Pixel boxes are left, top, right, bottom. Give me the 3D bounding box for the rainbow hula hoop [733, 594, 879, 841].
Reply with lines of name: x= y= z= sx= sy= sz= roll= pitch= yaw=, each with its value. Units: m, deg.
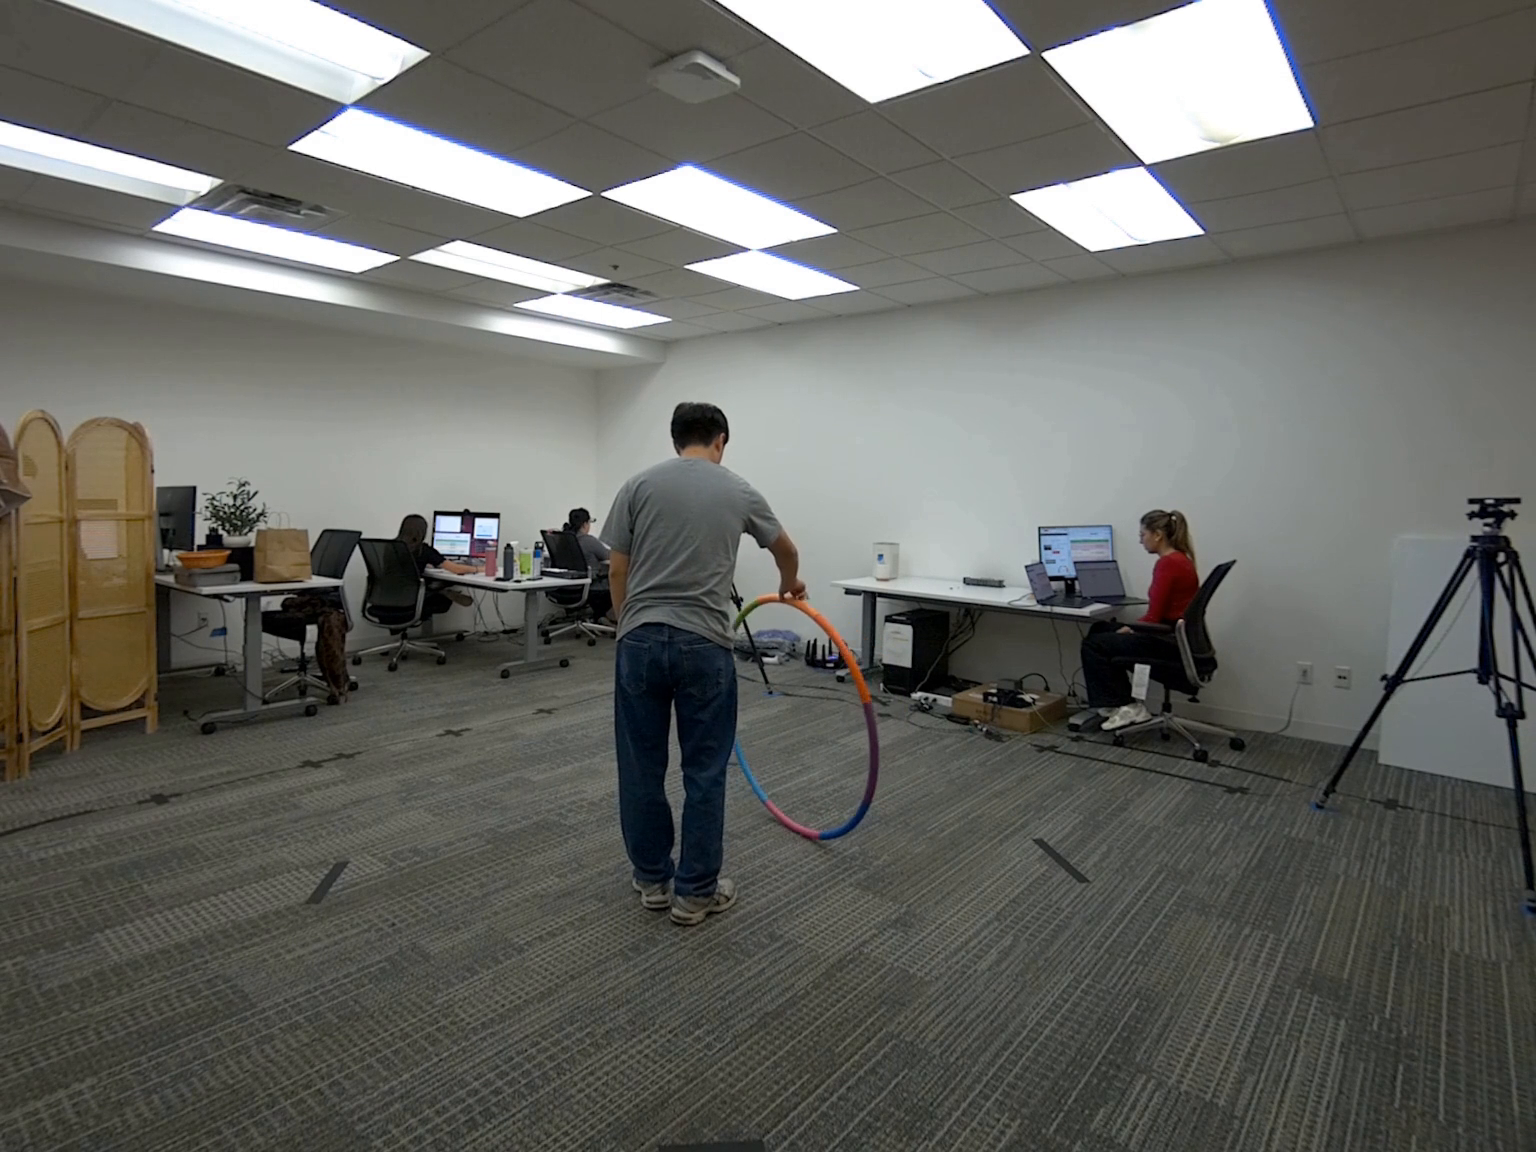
rainbow hula hoop: x=0.082 y=0.557 z=3.402 sx=0.035 sy=0.972 sz=1.010 roll=-9 pitch=9 yaw=-34
